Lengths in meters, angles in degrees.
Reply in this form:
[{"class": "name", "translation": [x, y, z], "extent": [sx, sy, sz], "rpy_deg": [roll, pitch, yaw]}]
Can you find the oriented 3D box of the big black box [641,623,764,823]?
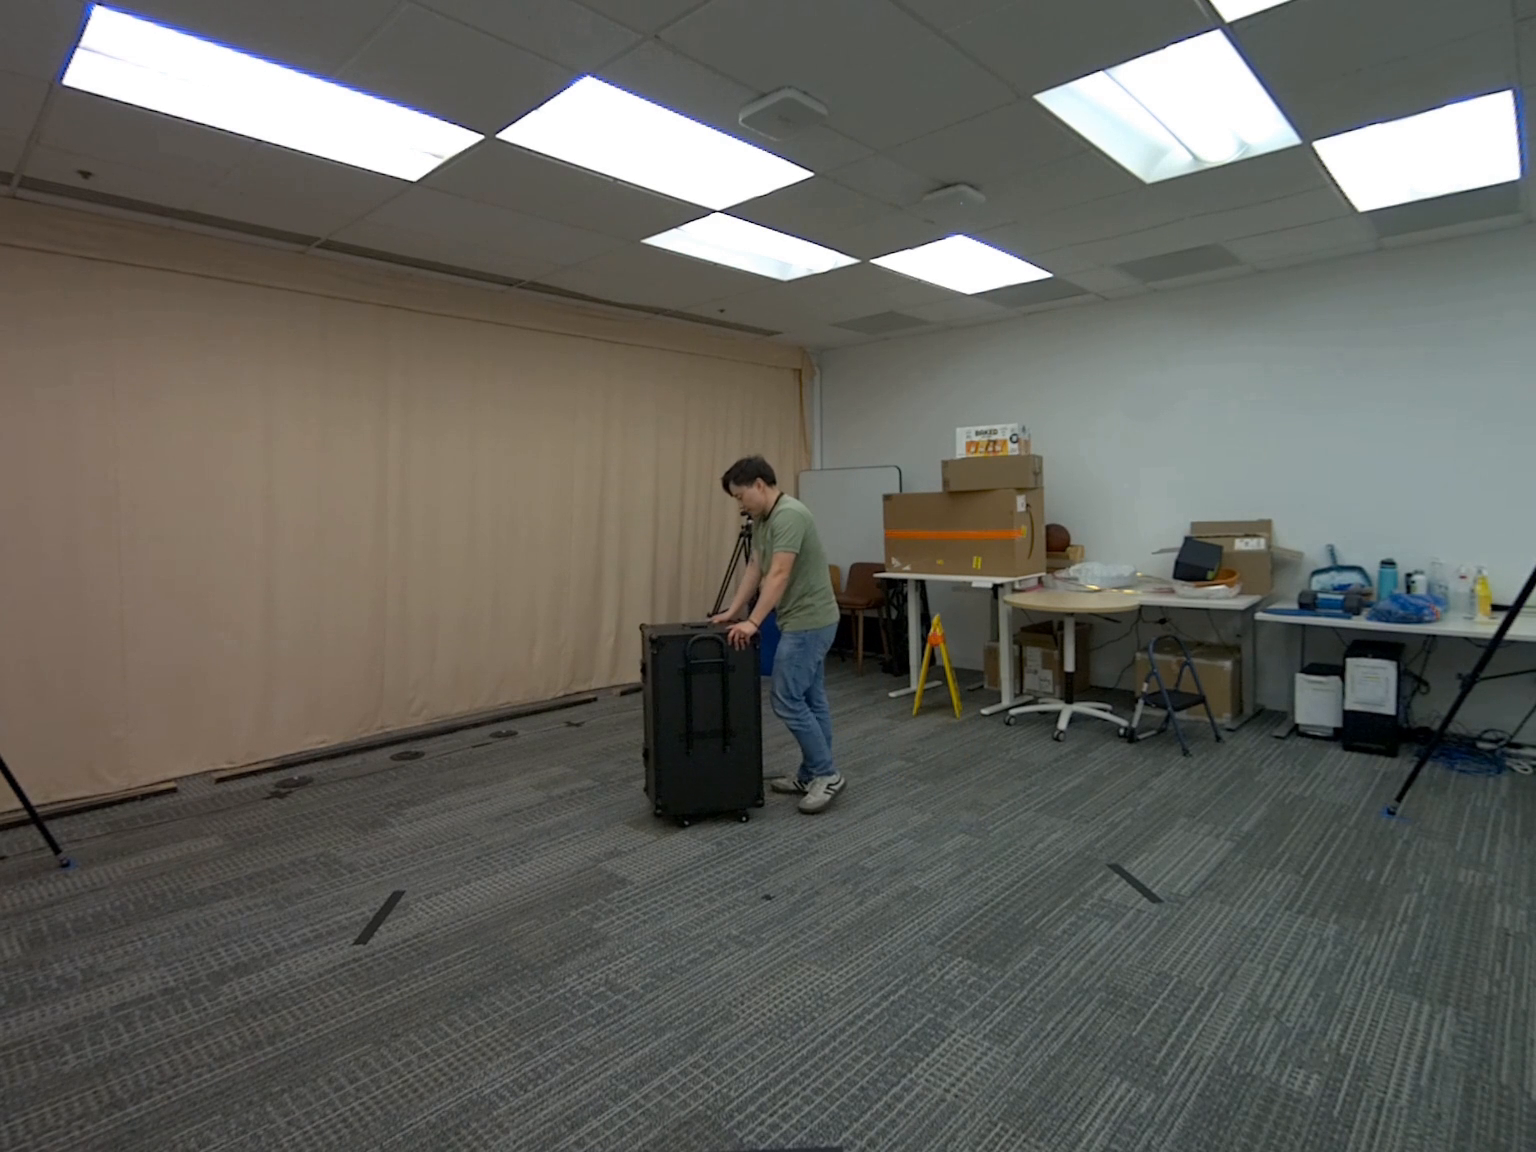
[{"class": "big black box", "translation": [-0.300, 0.657, 3.779], "extent": [0.514, 0.859, 0.402], "rpy_deg": [-2, 4, -13]}]
